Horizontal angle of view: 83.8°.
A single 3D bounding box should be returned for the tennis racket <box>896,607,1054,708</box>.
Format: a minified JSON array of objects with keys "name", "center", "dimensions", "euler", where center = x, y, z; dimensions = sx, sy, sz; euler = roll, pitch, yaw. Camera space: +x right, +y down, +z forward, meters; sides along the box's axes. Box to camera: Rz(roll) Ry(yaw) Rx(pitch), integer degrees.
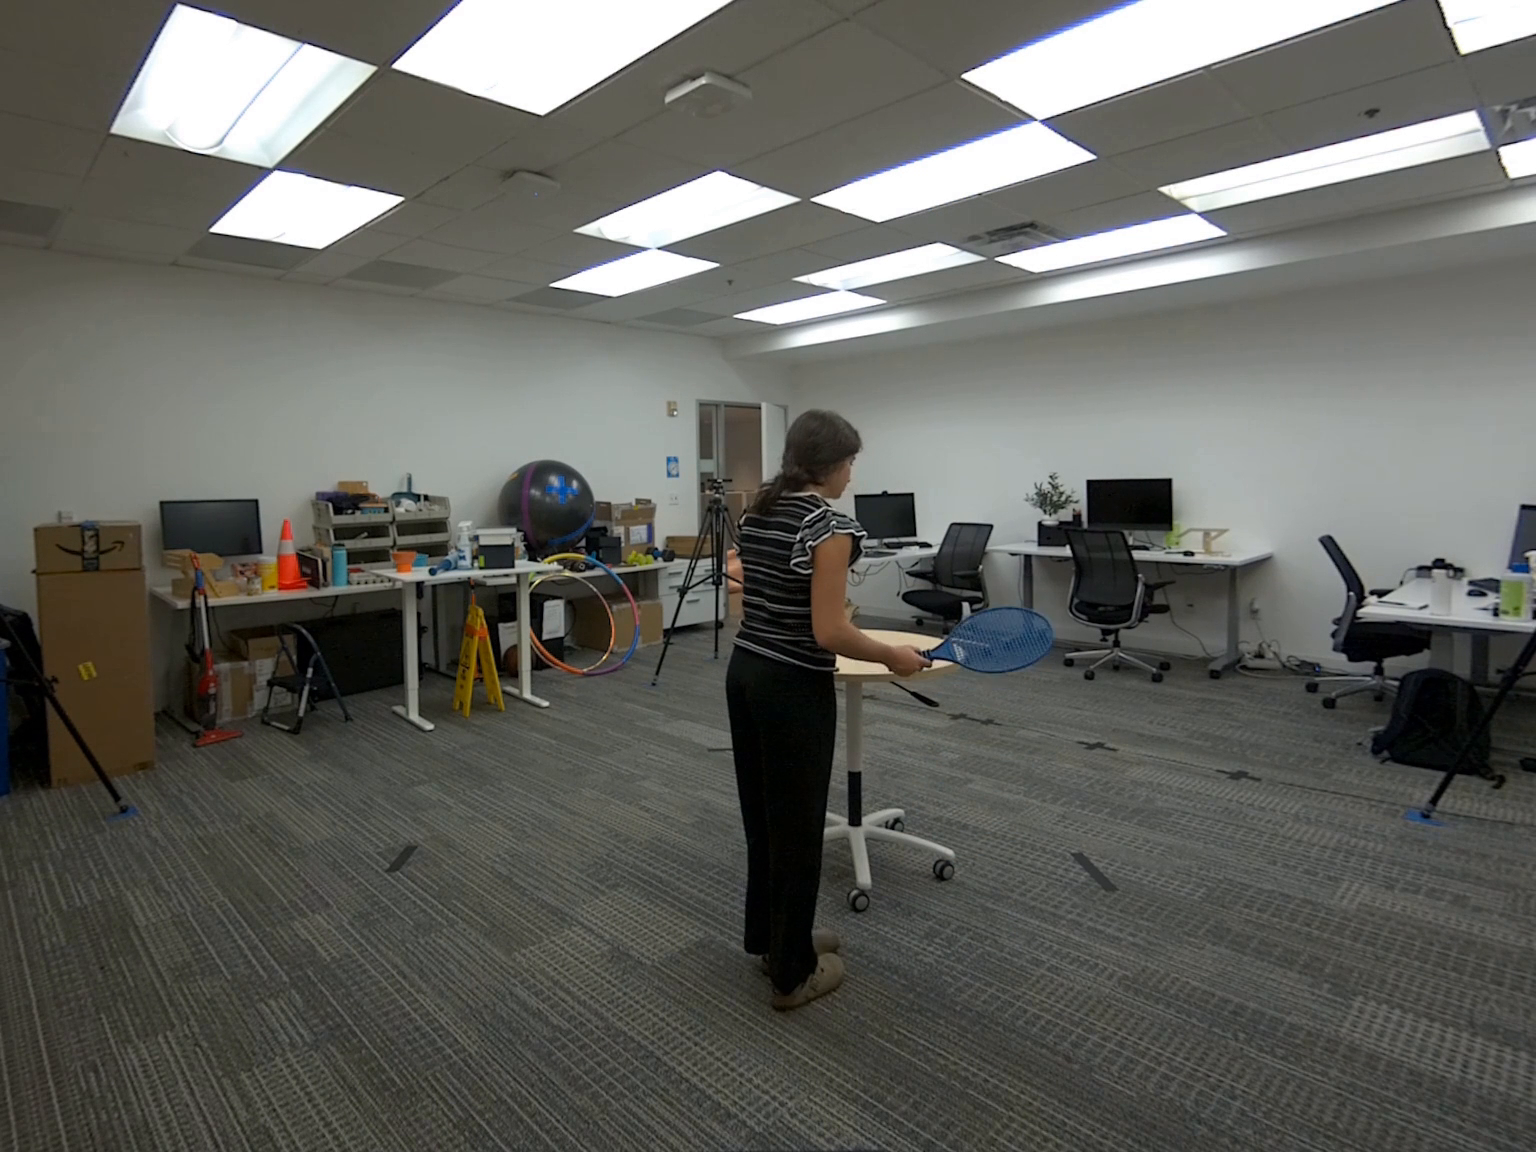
[{"name":"tennis racket","center":[0.530,0.181,2.230],"dimensions":[0.436,0.030,0.220],"euler":[-14,41,9]}]
